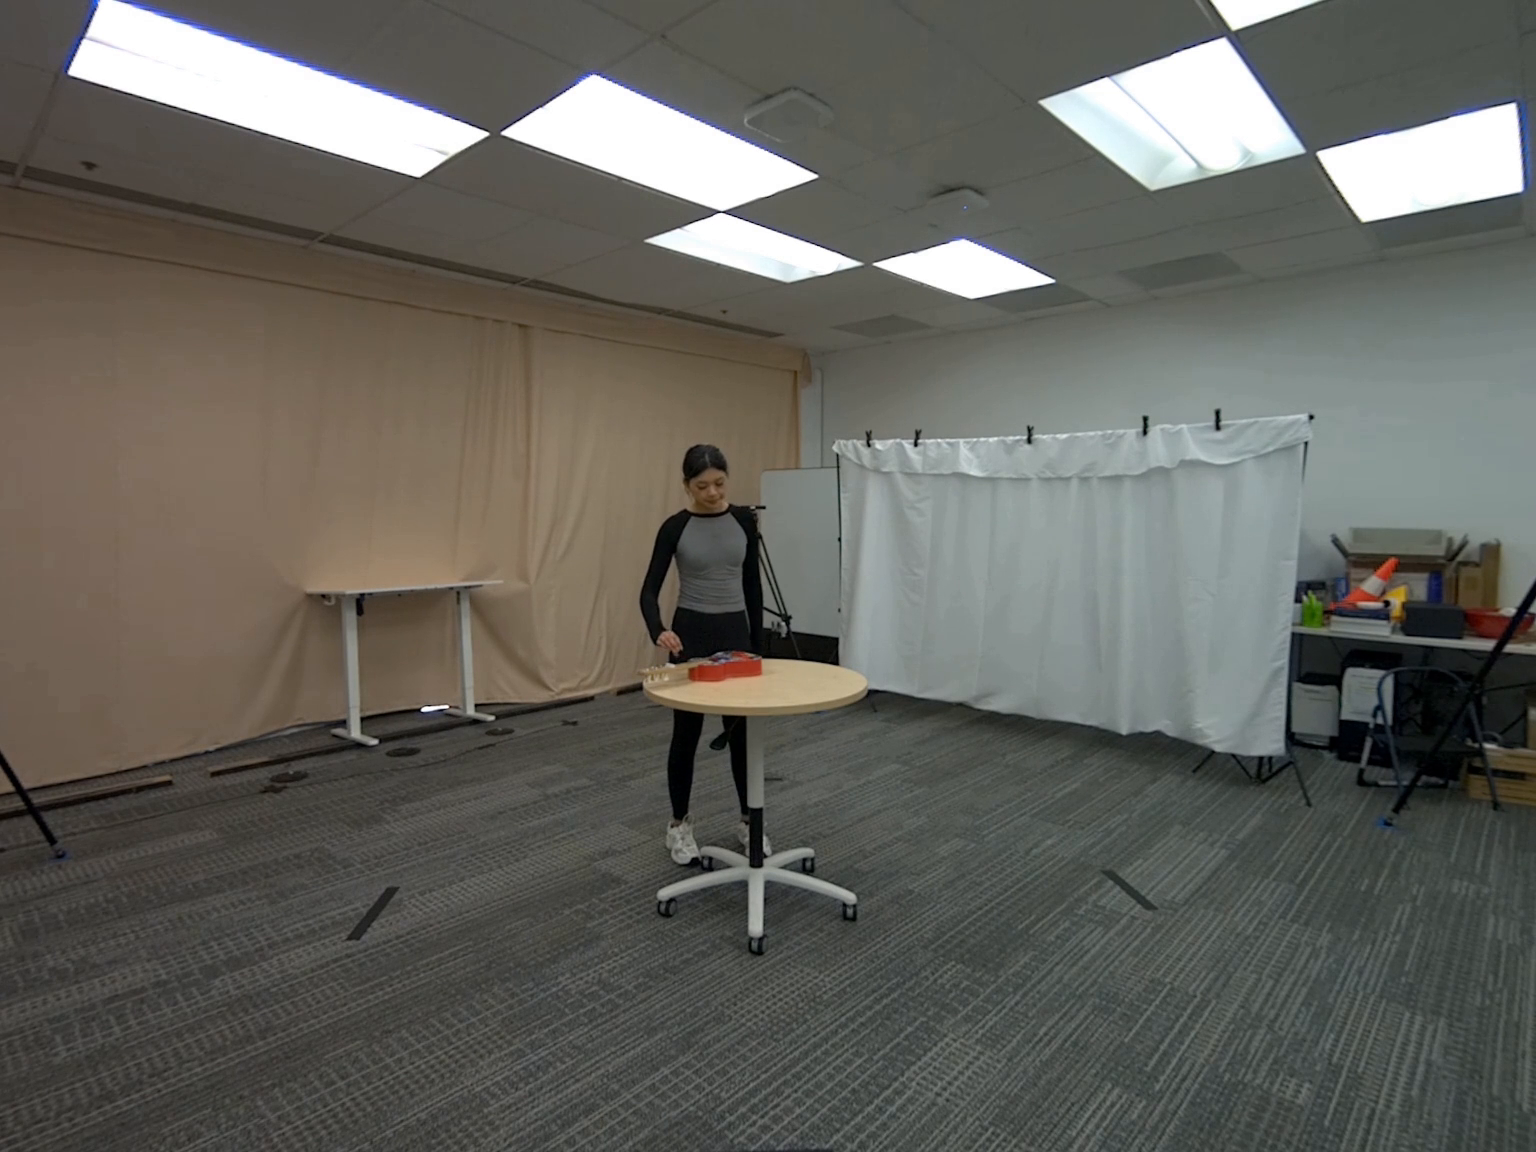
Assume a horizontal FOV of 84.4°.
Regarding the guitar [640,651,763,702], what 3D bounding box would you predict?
[{"bbox_3d":[-0.257,0.326,2.946,0.484,0.070,0.199,-4,5,-33],"label":"guitar"}]
